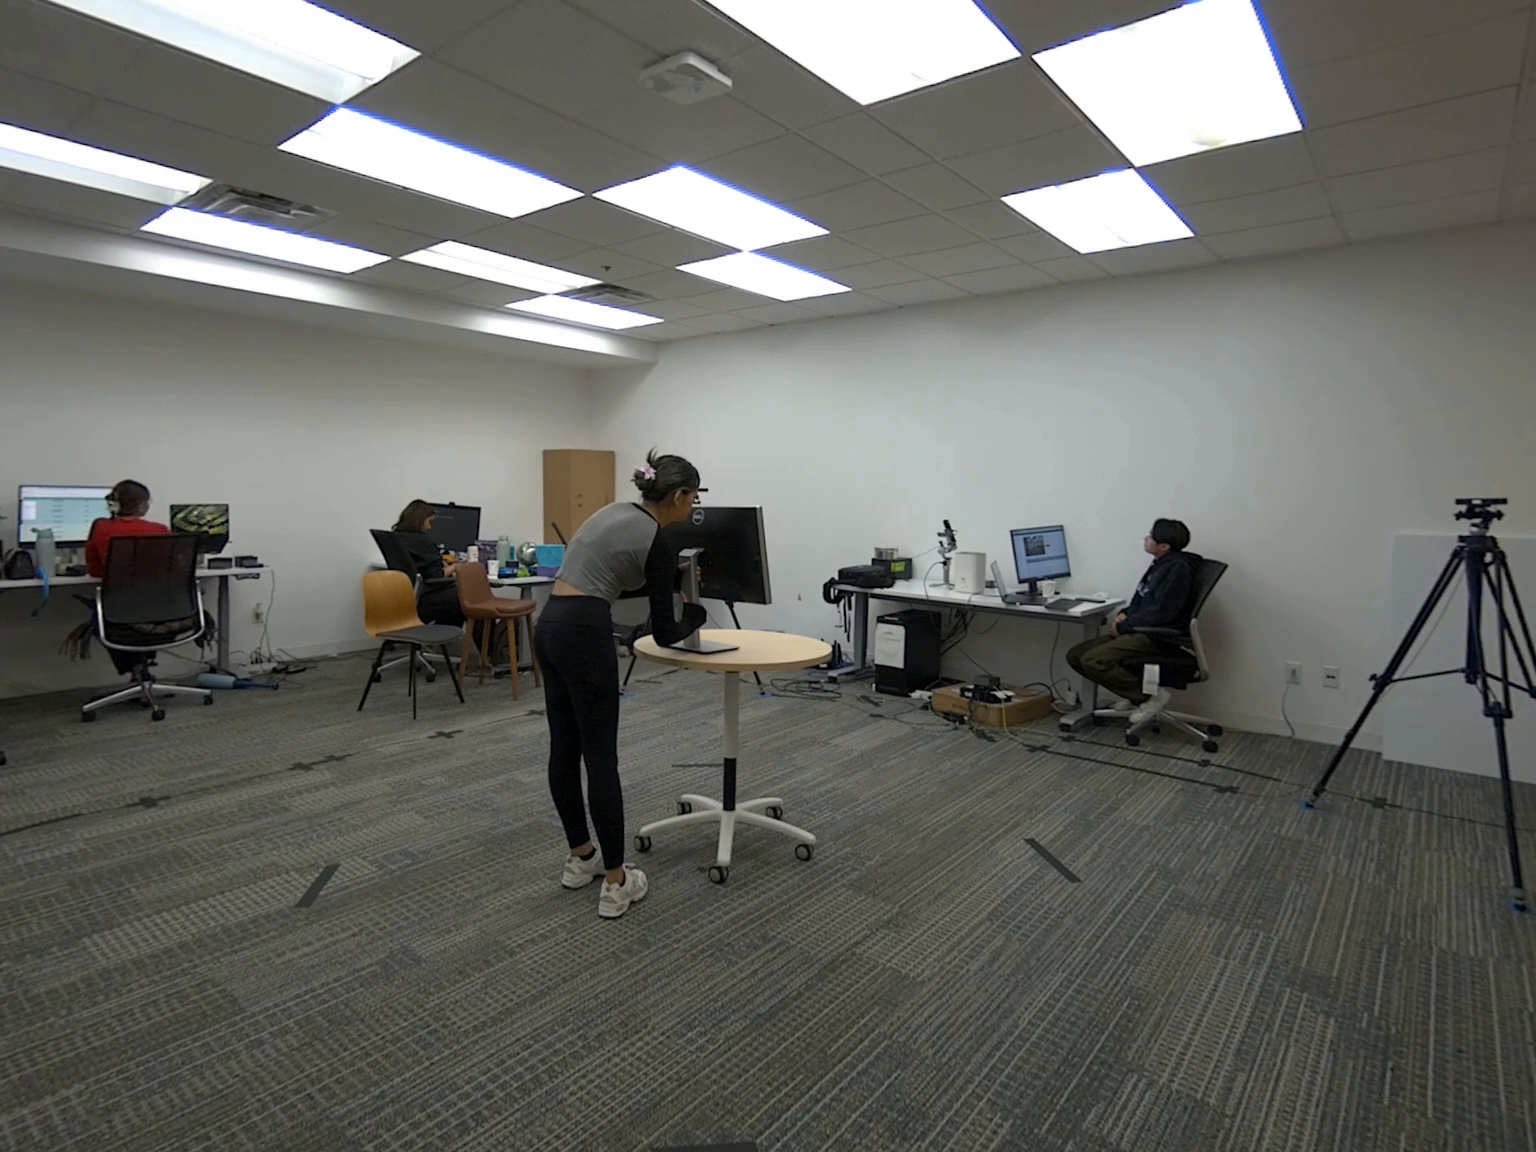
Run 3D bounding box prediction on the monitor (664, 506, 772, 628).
[{"bbox_3d":[-0.260,0.004,3.205,0.557,0.522,0.181,4,3,39],"label":"monitor"}]
